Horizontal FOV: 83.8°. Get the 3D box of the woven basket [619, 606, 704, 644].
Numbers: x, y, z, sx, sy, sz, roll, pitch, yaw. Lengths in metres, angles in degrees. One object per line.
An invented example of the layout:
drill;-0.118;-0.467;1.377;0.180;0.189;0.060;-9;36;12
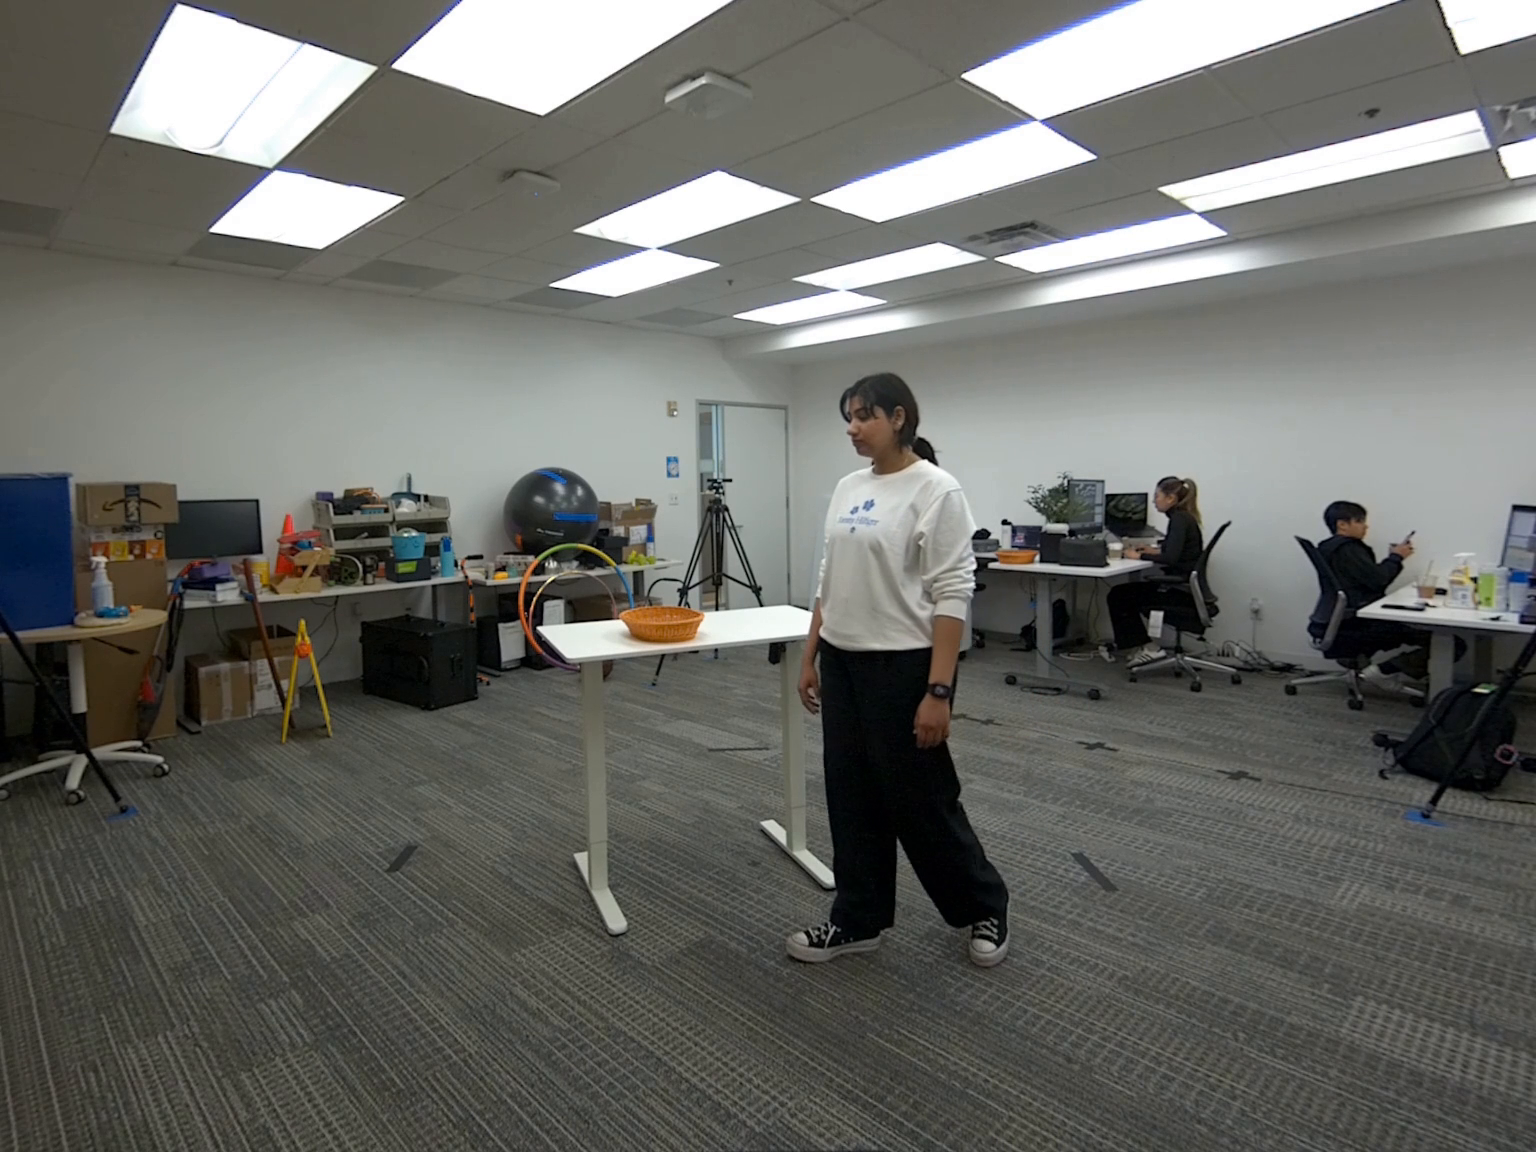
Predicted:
woven basket;-0.350;0.164;2.849;0.246;0.073;0.360;-6;7;-31
